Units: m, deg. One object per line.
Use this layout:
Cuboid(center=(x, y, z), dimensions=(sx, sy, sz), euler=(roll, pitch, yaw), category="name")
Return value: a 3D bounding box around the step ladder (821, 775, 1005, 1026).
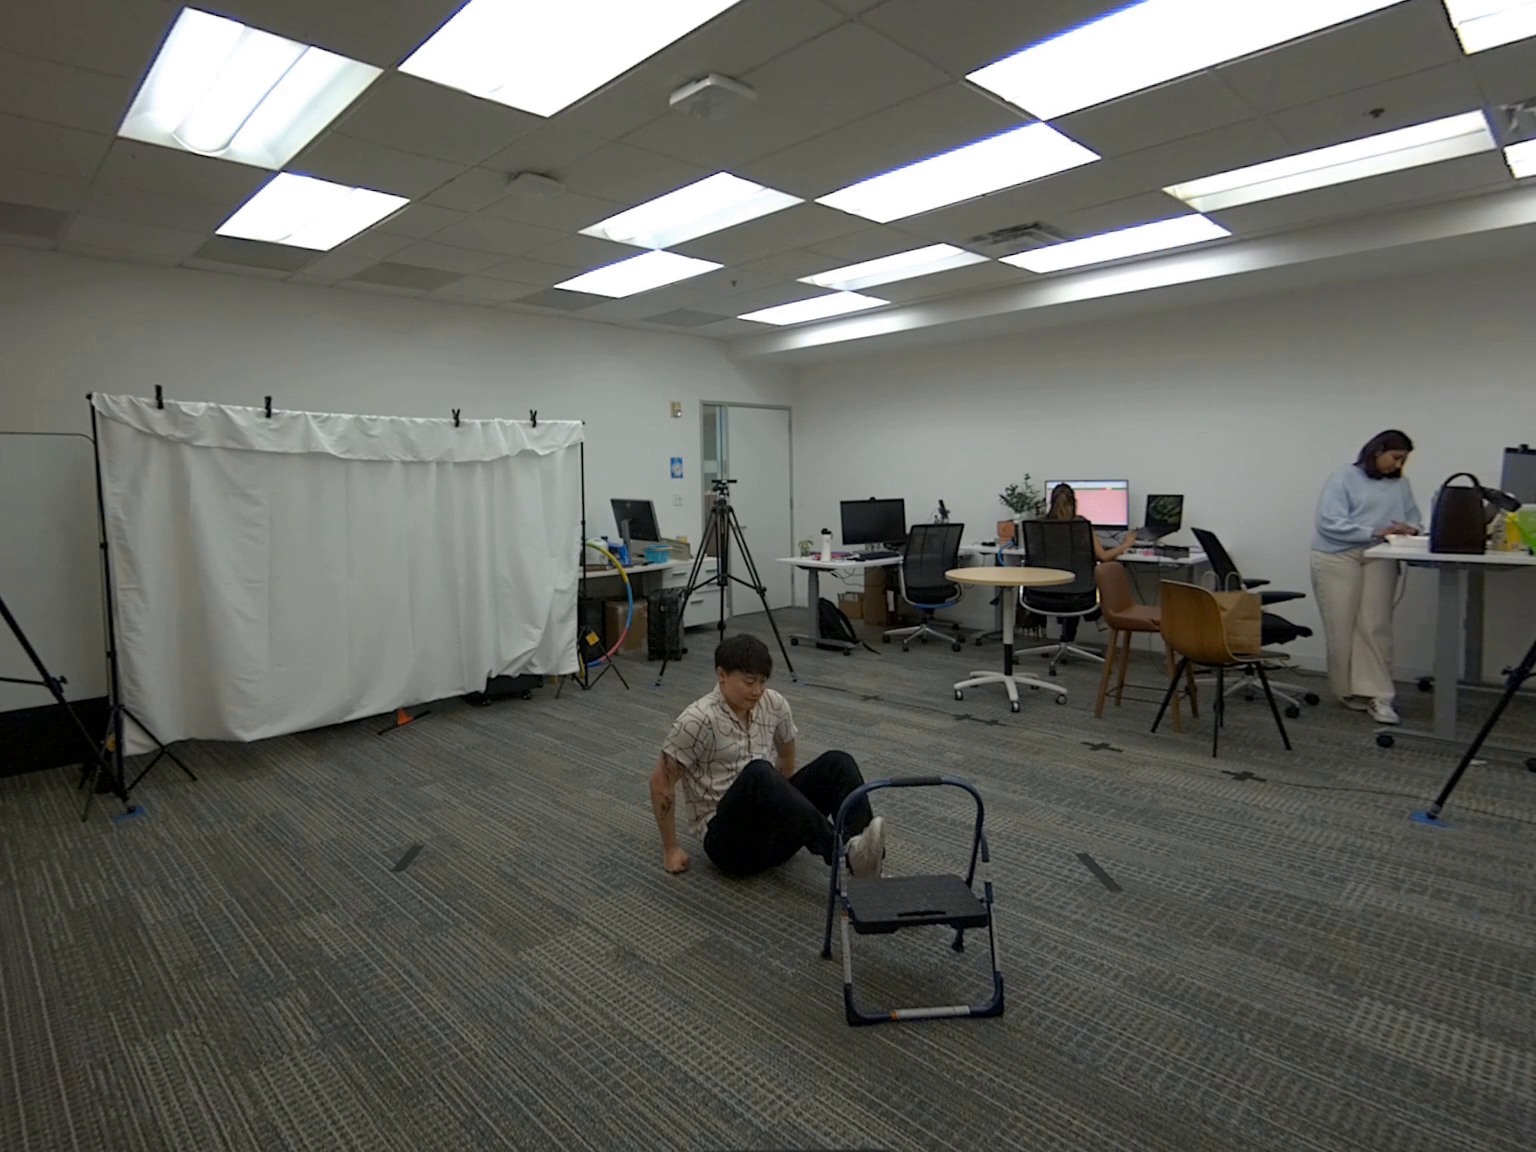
Cuboid(center=(0.390, 0.829, 2.341), dimensions=(0.428, 0.604, 0.352), euler=(-2, 4, -6), category="step ladder")
